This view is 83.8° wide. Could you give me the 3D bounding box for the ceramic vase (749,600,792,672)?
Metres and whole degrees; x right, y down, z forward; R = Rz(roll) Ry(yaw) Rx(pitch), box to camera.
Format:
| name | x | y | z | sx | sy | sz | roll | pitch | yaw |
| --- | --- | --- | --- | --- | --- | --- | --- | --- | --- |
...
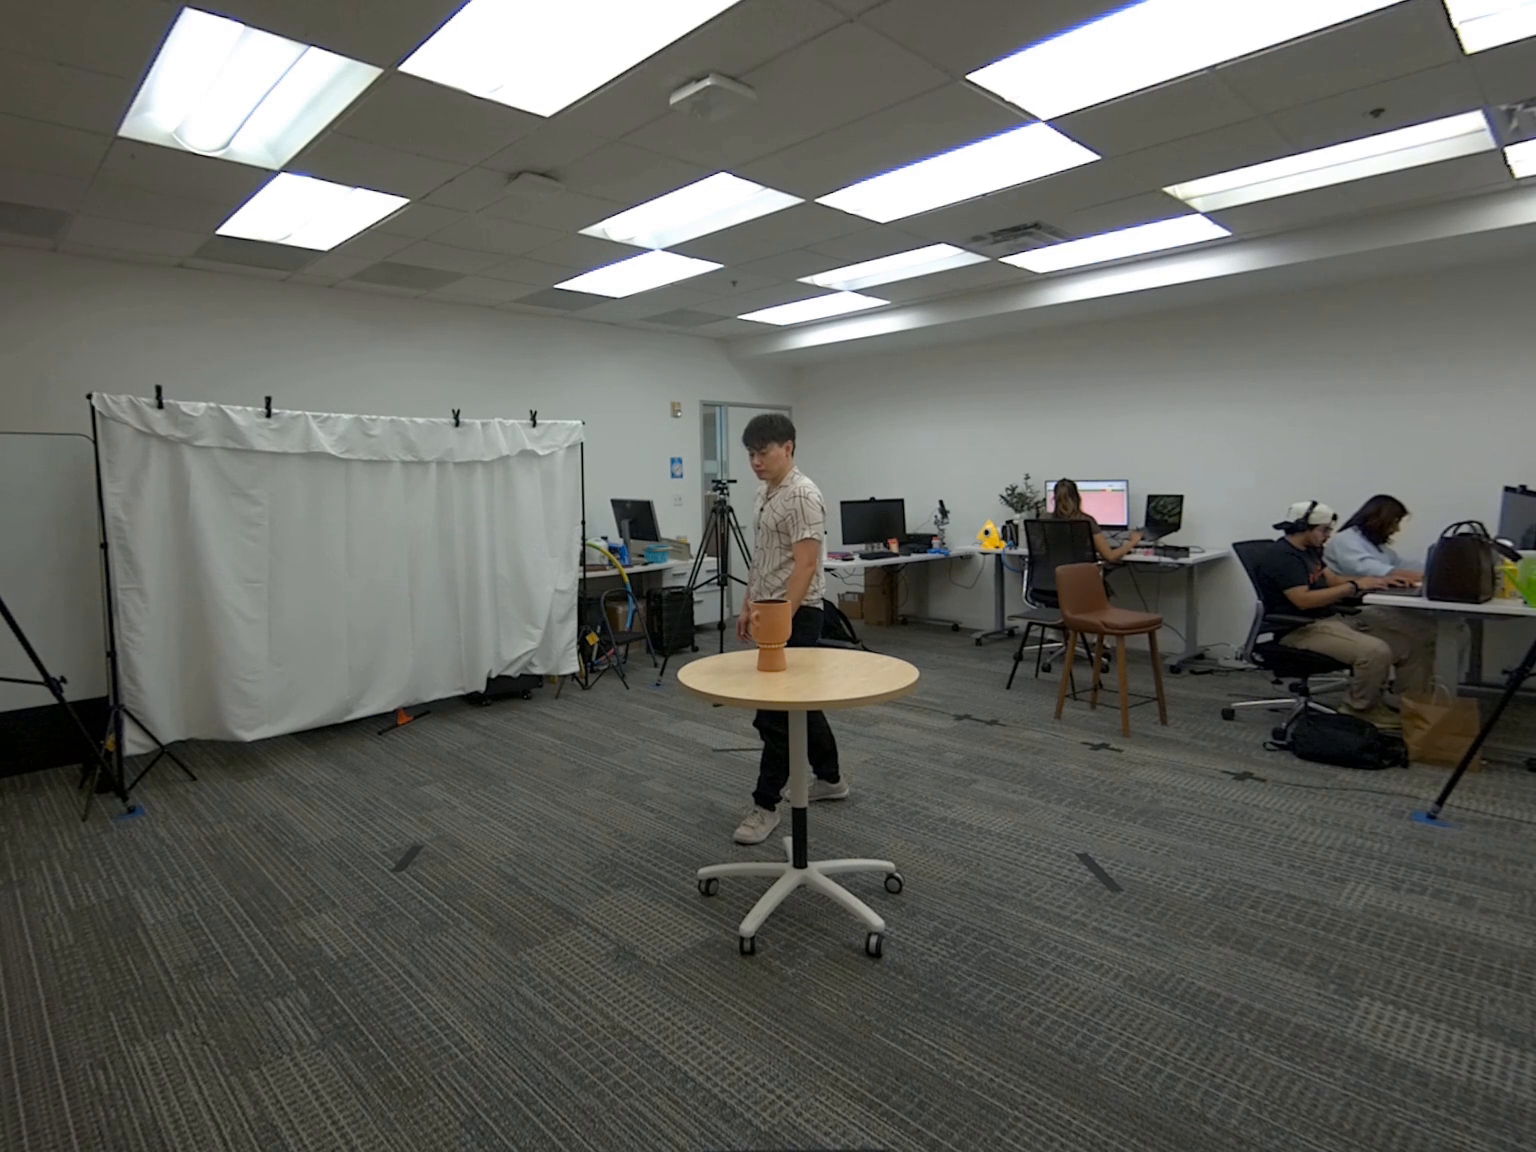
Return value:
| name | x | y | z | sx | sy | sz | roll | pitch | yaw |
| --- | --- | --- | --- | --- | --- | --- | --- | --- | --- |
| ceramic vase | 0.009 | 0.197 | 2.772 | 0.157 | 0.219 | 0.136 | -4 | 4 | -11 |
